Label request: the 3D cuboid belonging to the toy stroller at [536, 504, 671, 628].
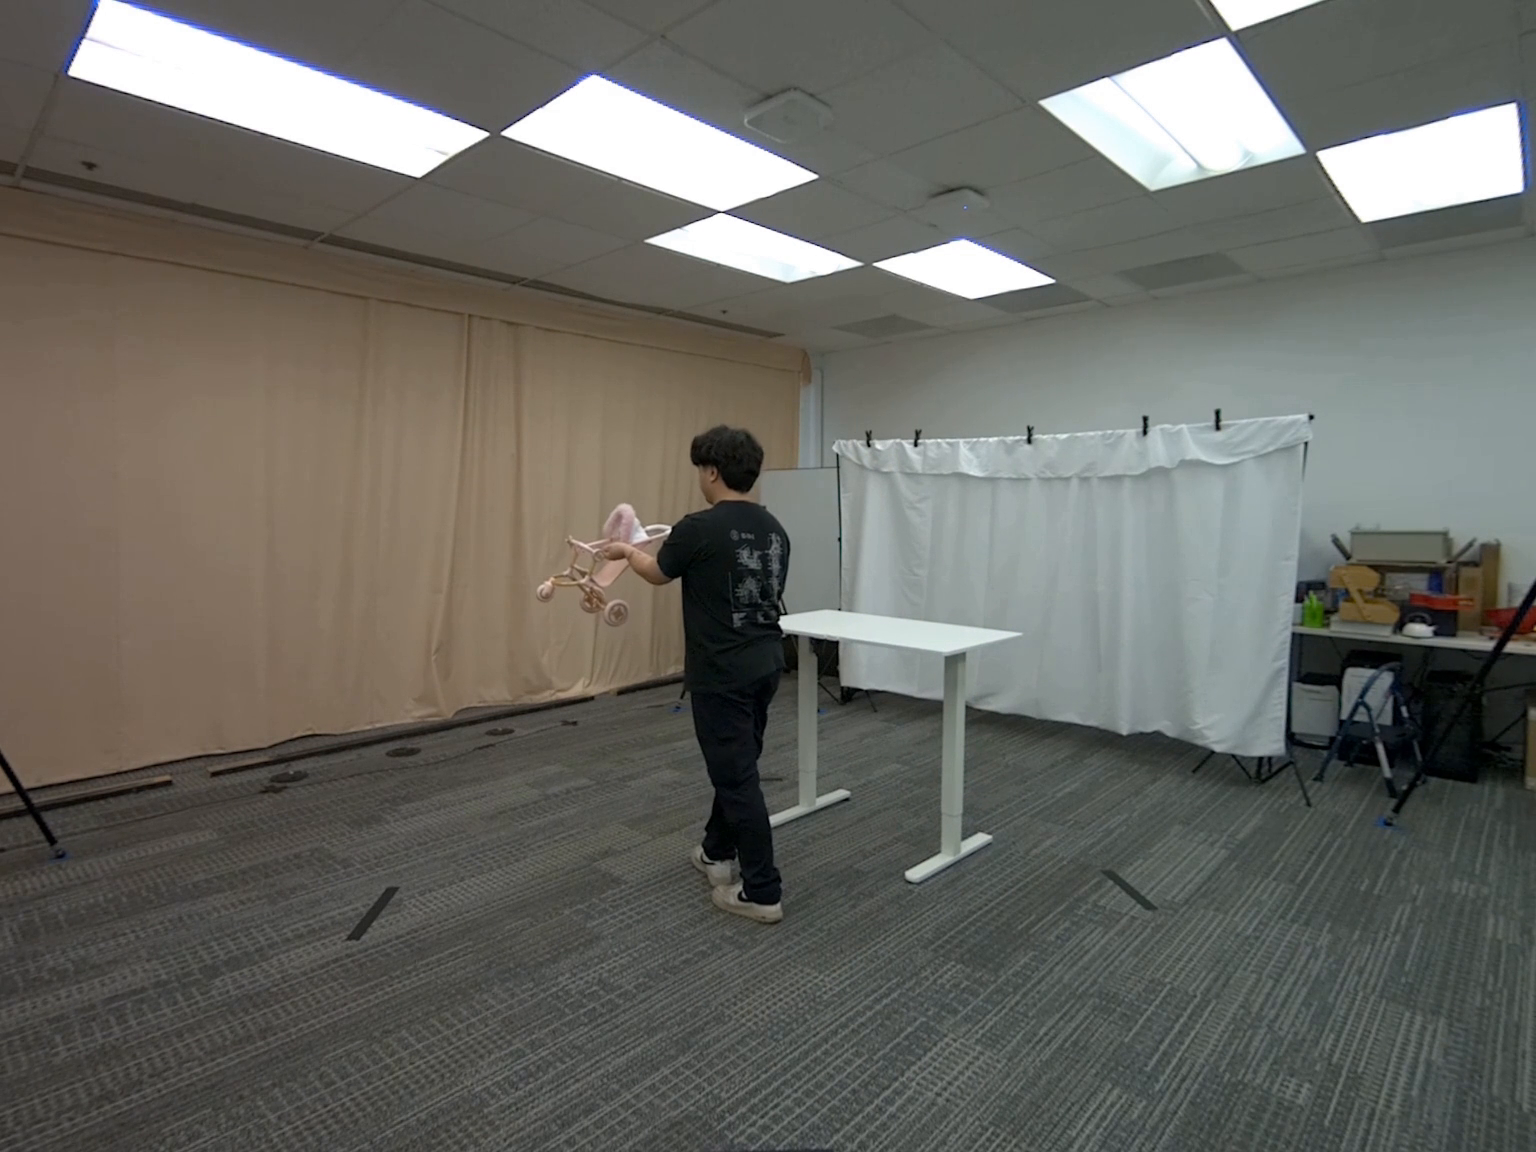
[{"bbox_3d":[-0.647,-0.062,3.352,0.331,0.535,0.290,36,-9,-27],"label":"toy stroller"}]
